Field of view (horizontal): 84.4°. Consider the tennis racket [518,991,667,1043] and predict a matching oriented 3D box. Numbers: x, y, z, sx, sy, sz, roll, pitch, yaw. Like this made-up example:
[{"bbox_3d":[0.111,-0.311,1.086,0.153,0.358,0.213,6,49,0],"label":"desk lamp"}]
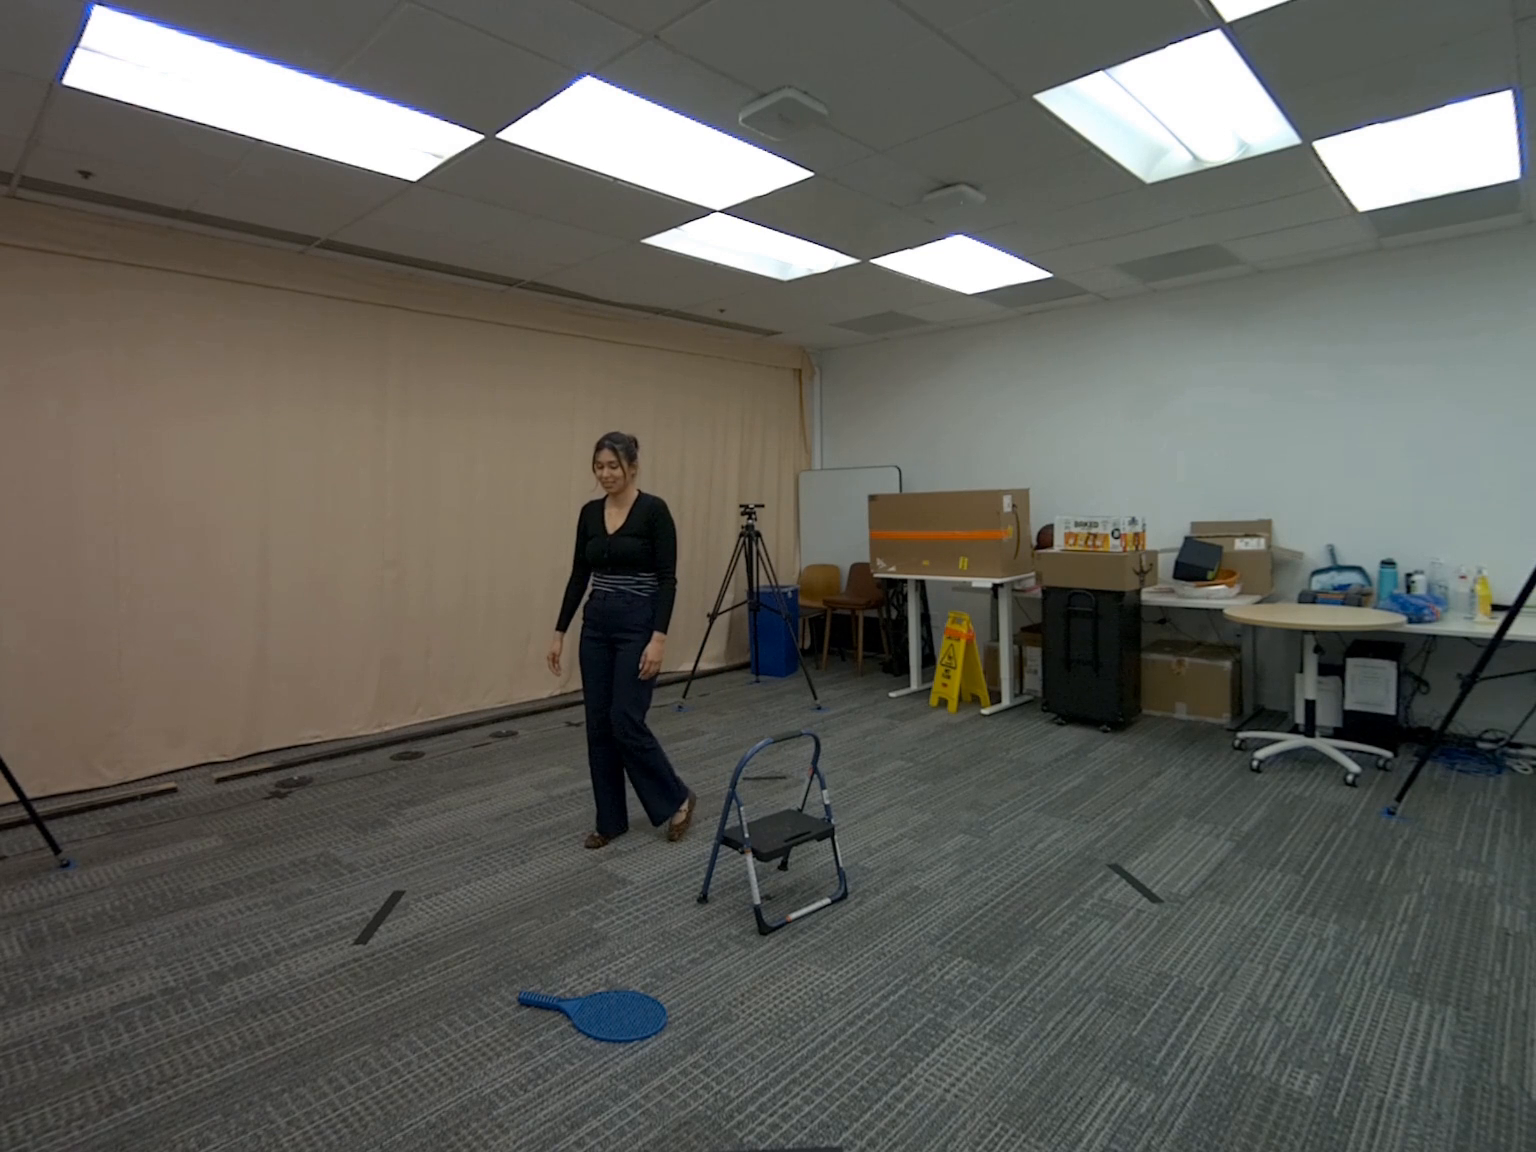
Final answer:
[{"bbox_3d":[-0.480,1.193,2.315,0.439,0.031,0.211,1,6,13],"label":"tennis racket"}]
